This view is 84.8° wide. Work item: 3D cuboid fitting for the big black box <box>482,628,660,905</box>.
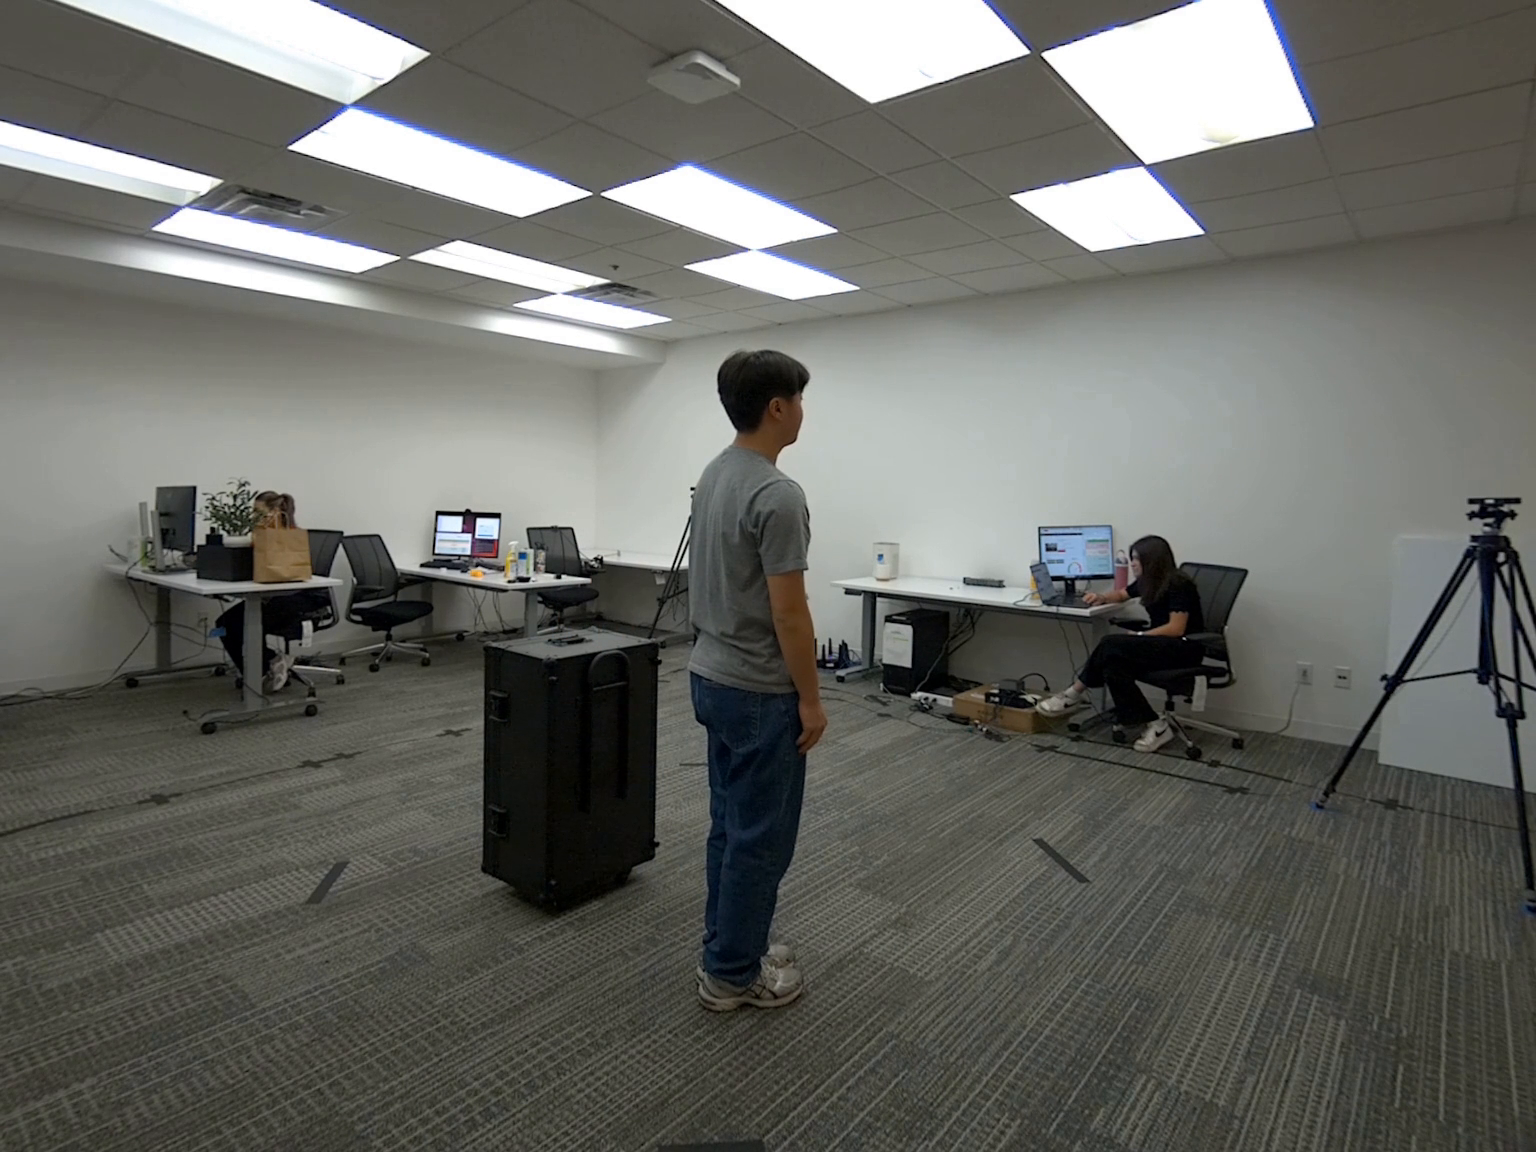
[{"bbox_3d":[-0.679,0.650,2.932,0.410,0.858,0.506,5,5,40],"label":"big black box"}]
